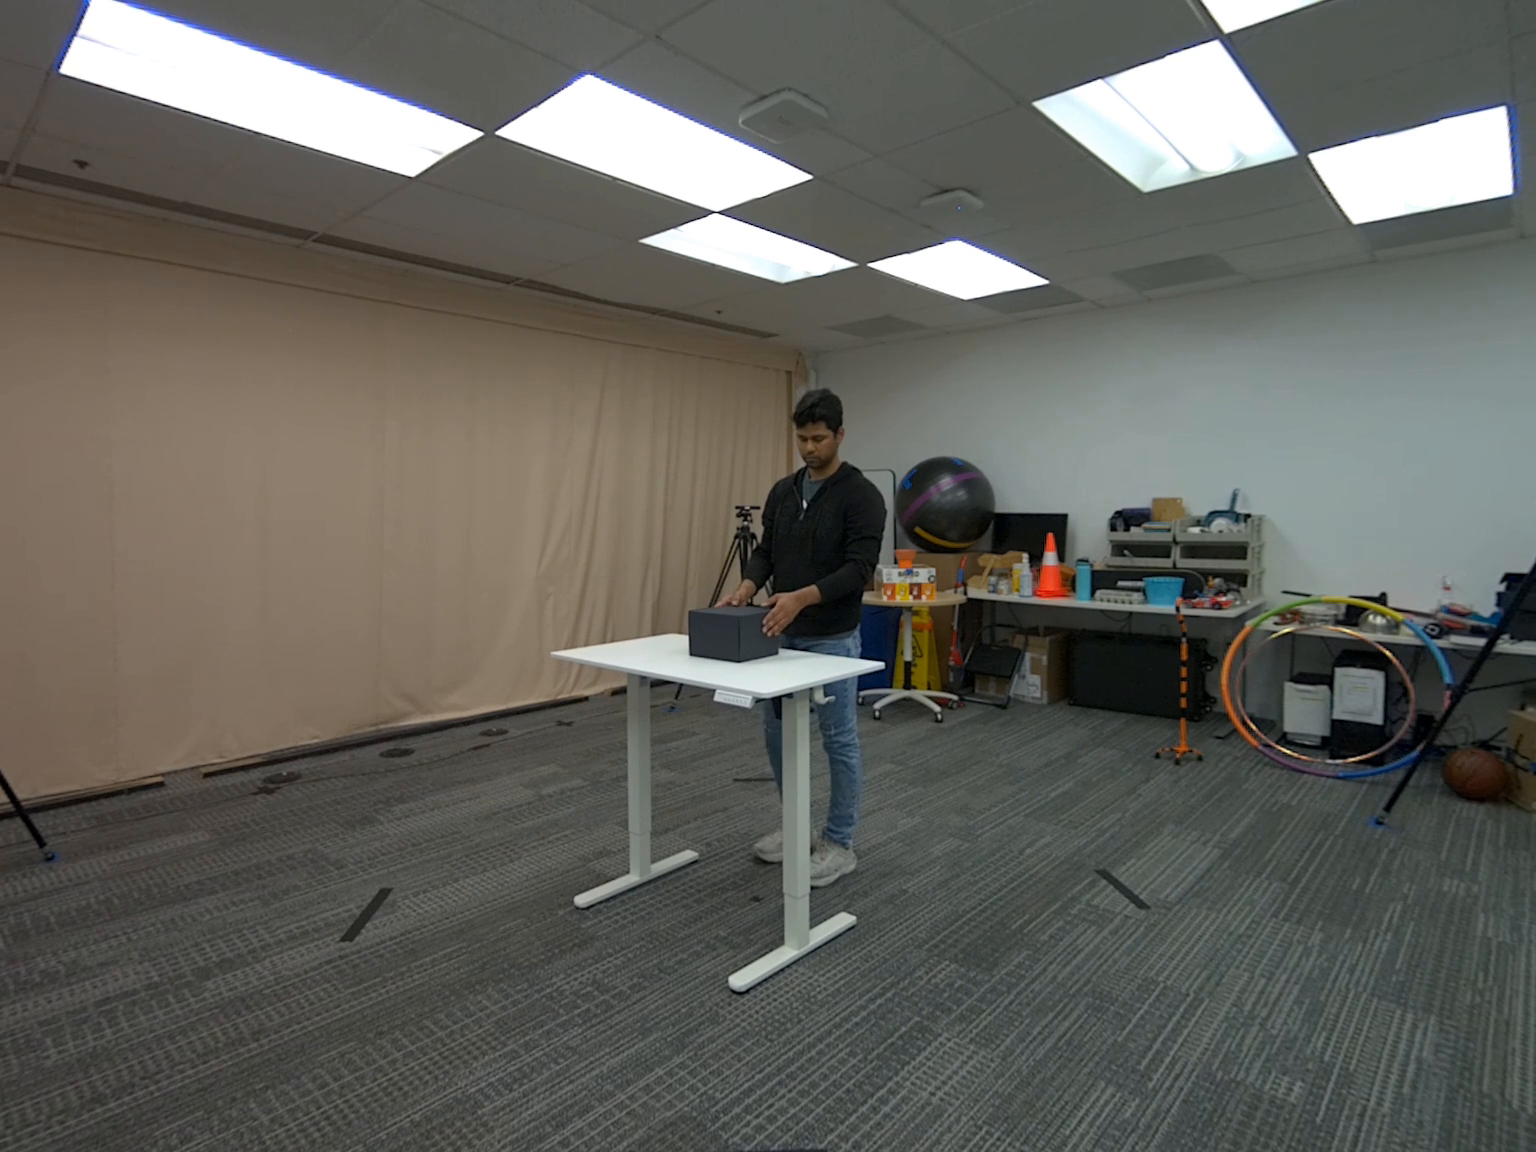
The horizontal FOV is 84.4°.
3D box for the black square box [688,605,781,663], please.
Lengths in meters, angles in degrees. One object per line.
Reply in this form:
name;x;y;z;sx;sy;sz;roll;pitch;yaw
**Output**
black square box;-0.109;0.190;2.869;0.235;0.155;0.210;3;5;39
